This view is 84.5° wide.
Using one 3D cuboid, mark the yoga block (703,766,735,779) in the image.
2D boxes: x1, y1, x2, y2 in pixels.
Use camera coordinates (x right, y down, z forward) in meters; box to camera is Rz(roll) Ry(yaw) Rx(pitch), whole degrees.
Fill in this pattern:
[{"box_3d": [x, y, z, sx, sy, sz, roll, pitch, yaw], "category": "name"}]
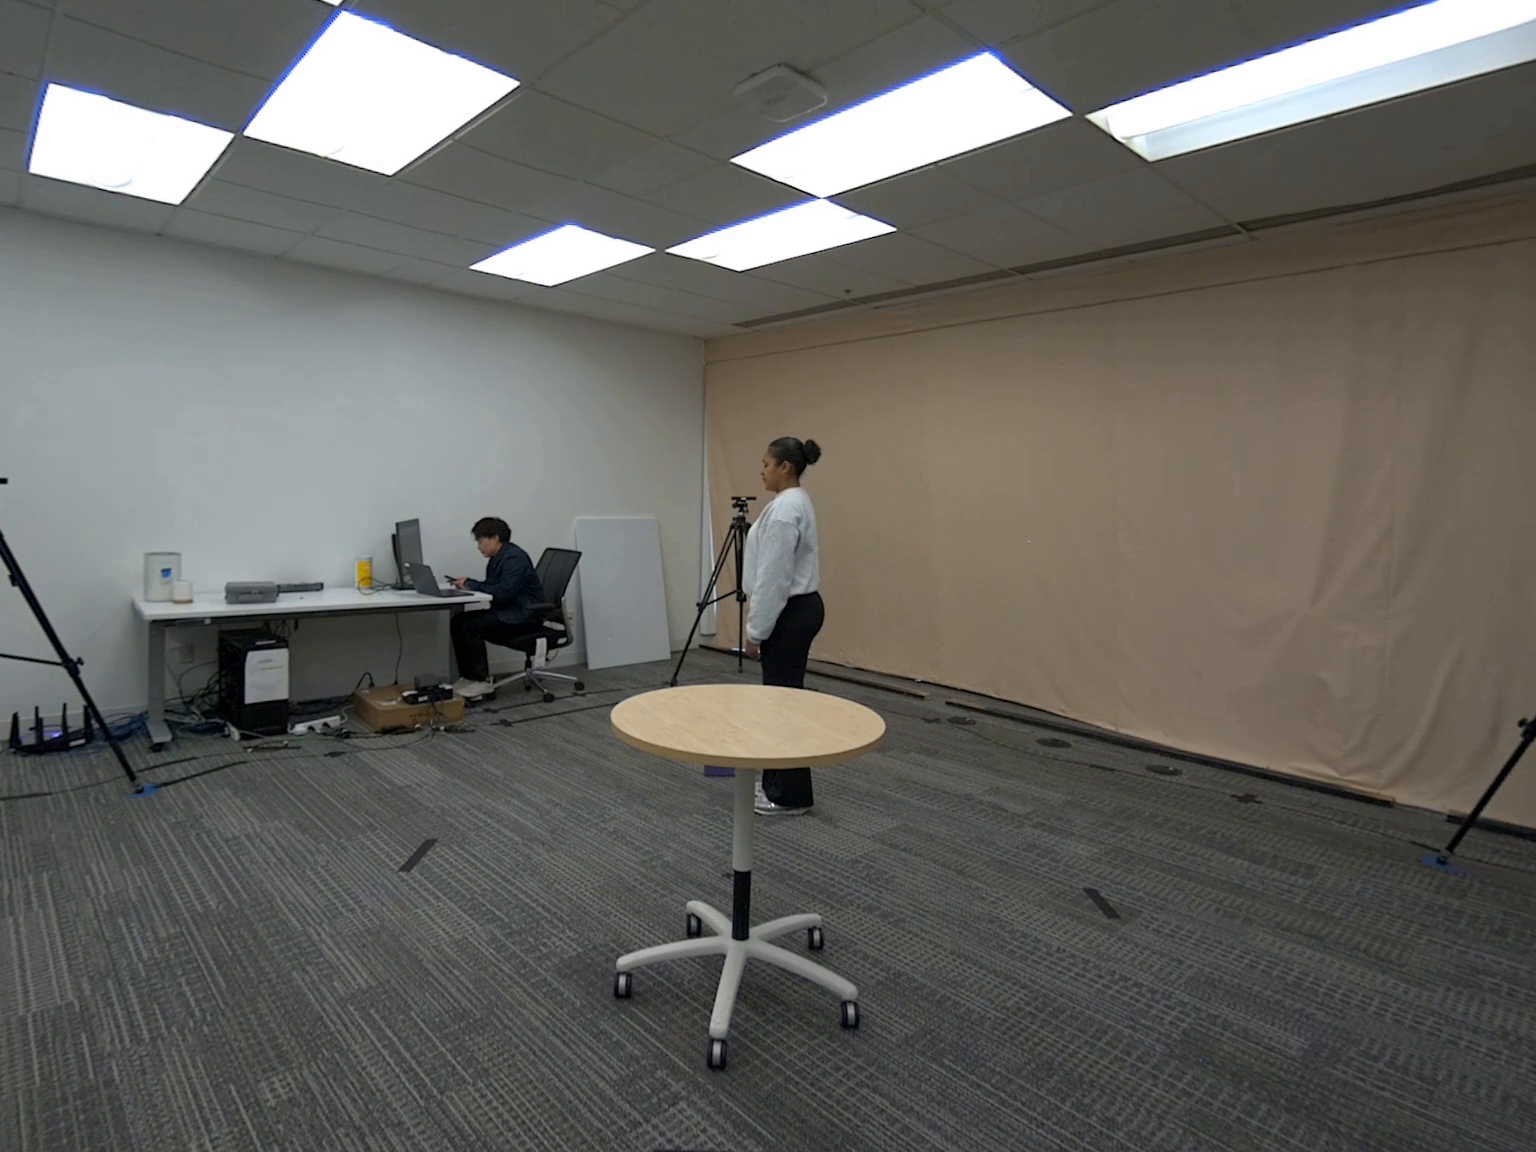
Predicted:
[{"box_3d": [-0.220, 0.934, 4.263, 0.229, 0.149, 0.077, 1, 3, -3], "category": "yoga block"}]
